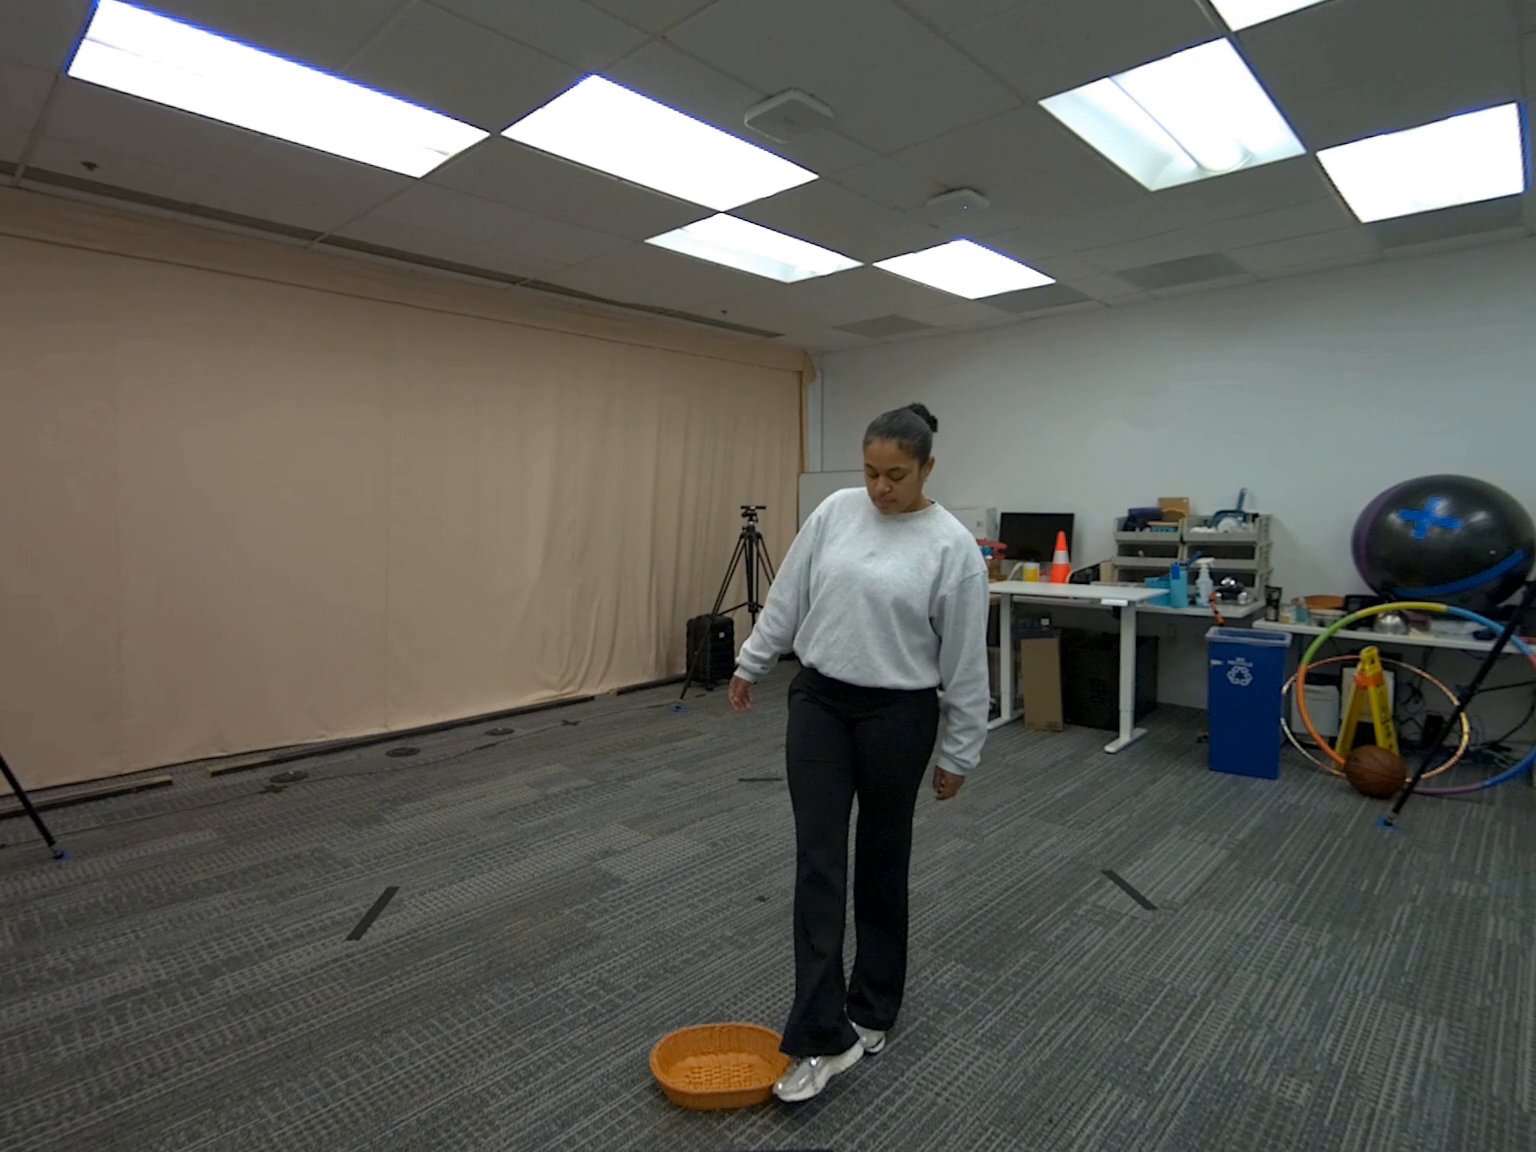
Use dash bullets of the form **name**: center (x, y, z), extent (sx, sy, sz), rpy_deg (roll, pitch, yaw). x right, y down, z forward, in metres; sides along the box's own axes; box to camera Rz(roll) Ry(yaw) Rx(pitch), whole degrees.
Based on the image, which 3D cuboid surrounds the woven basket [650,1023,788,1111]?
- **woven basket**: center (-0.118, 1.193, 2.037), extent (0.348, 0.073, 0.255), rpy_deg (-1, 4, -7)
